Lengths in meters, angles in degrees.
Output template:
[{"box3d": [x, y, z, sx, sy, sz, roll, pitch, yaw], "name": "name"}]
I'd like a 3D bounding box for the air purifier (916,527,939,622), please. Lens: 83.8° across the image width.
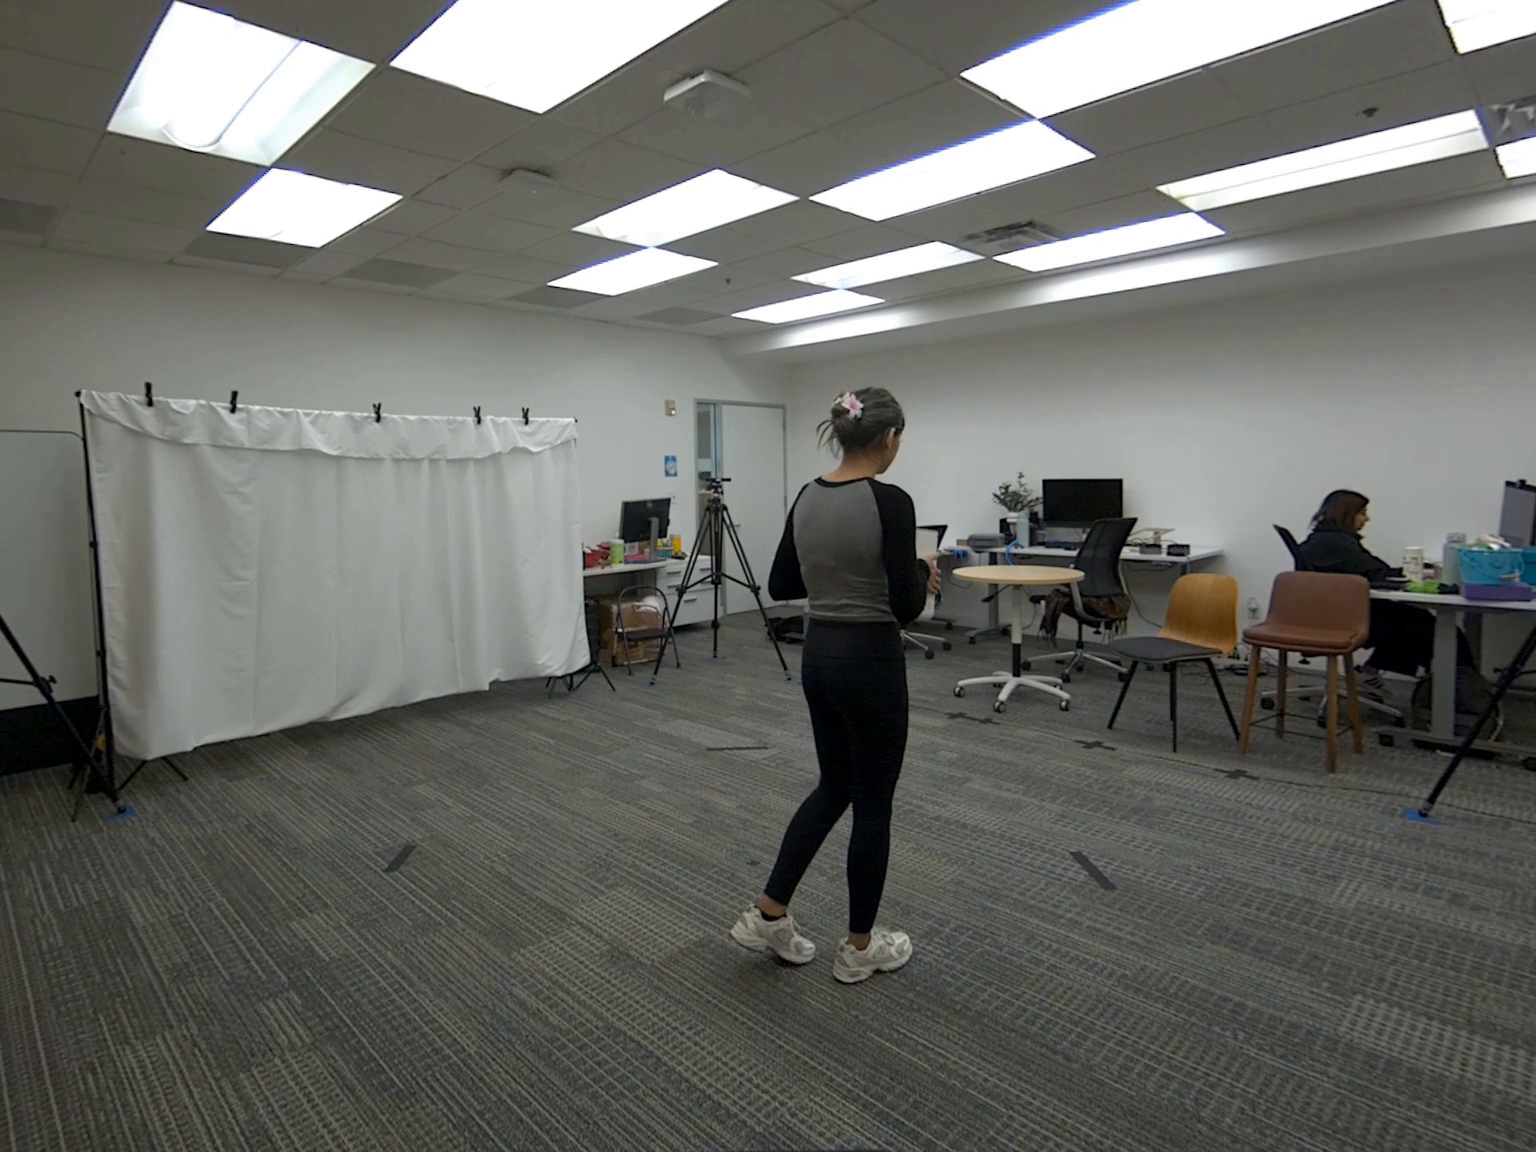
[{"box3d": [0.399, -0.007, 2.507, 0.166, 0.266, 0.176, 4, -3, -42], "name": "air purifier"}]
